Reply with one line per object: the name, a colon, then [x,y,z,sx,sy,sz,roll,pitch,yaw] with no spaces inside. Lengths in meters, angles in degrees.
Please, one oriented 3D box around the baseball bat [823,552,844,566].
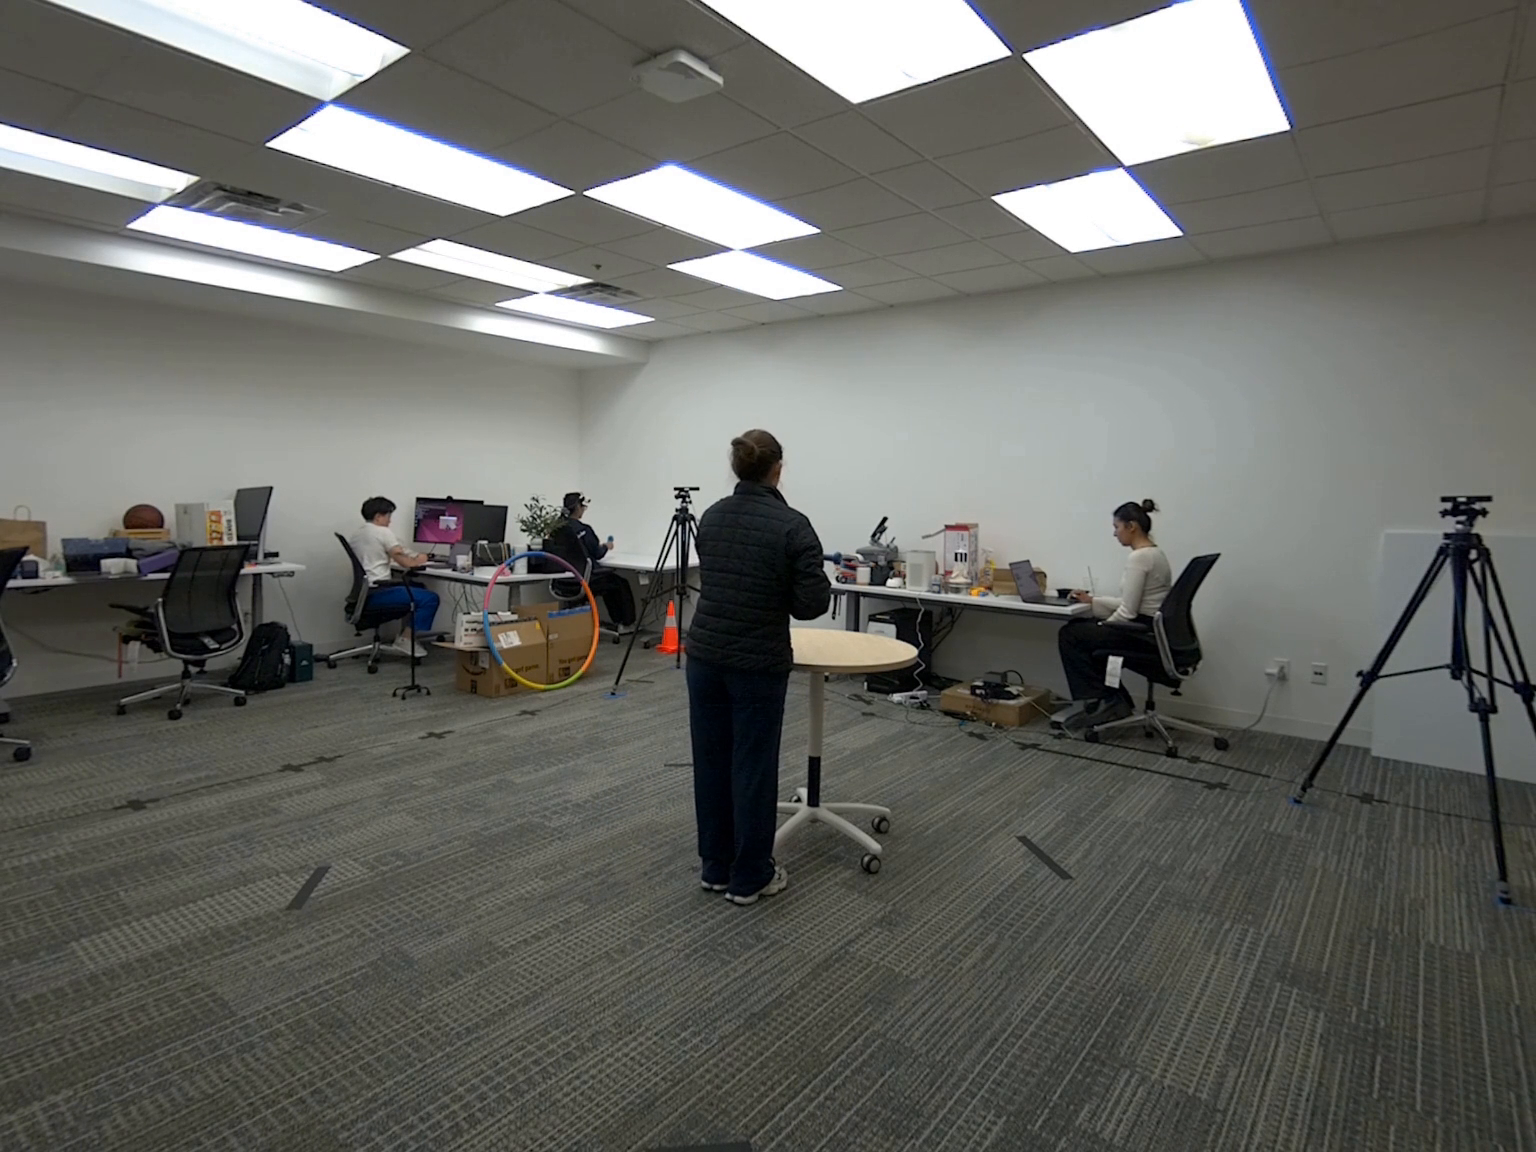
baseball bat: [0.055,-0.097,3.285,0.560,0.088,0.087,7,7,32]
